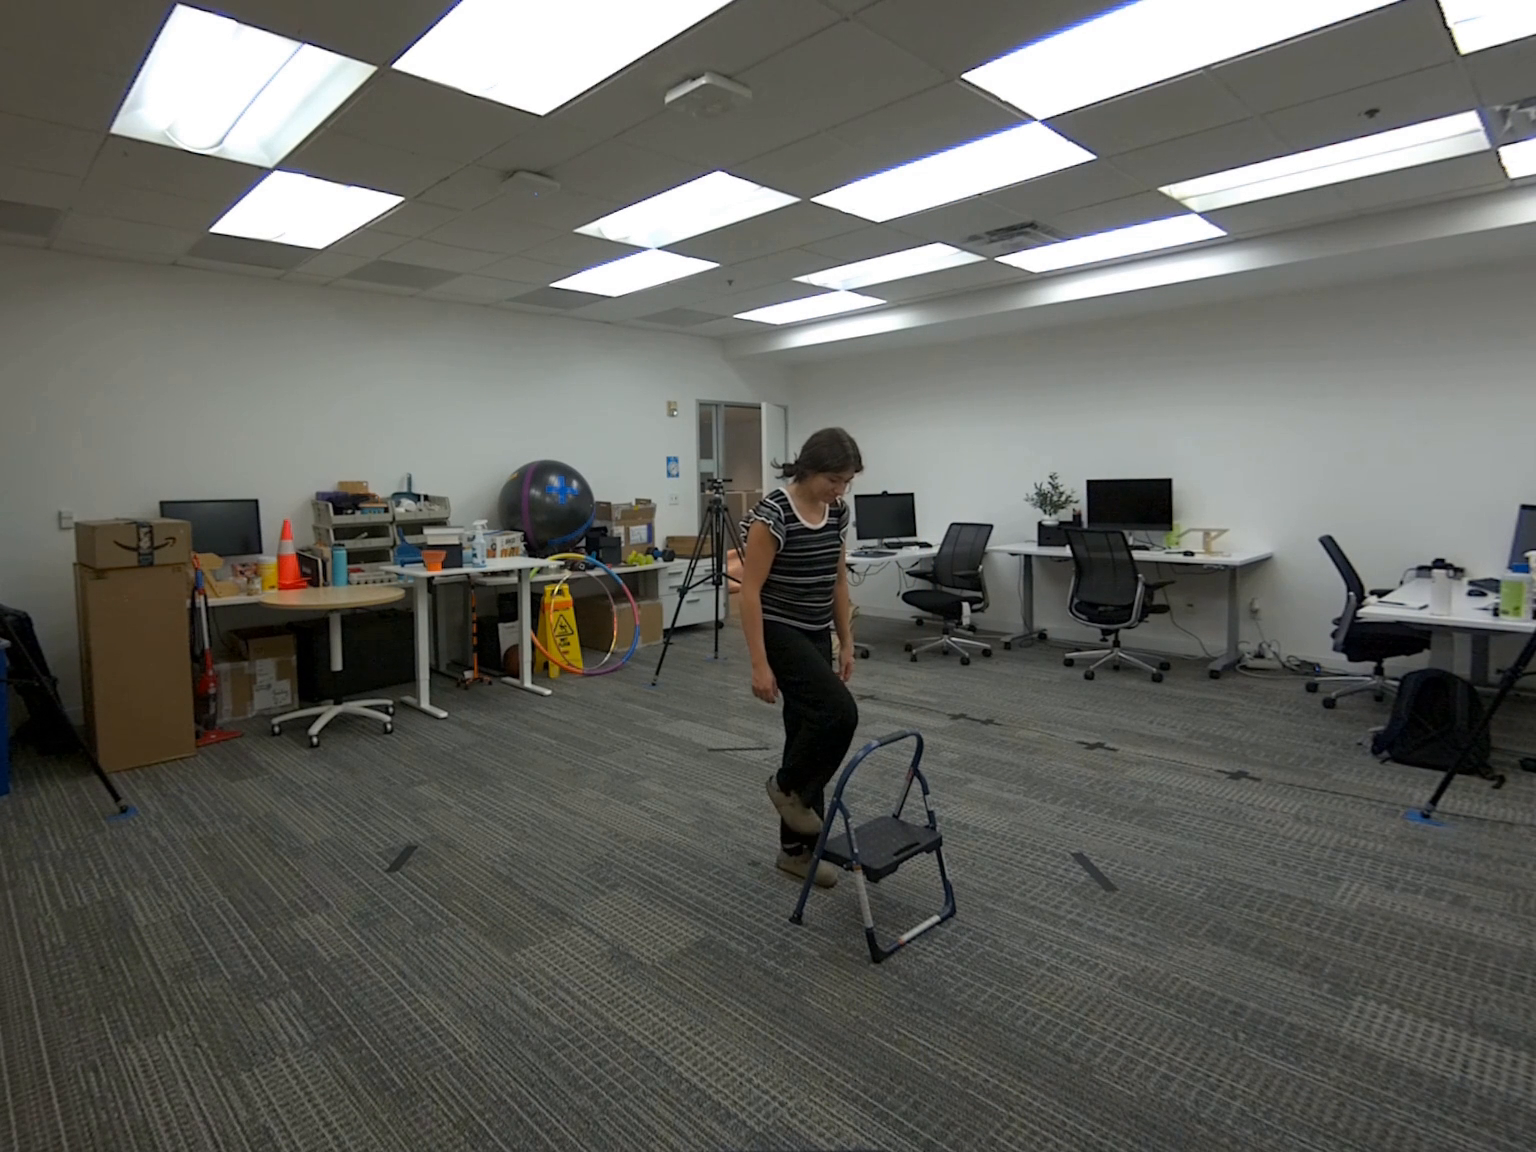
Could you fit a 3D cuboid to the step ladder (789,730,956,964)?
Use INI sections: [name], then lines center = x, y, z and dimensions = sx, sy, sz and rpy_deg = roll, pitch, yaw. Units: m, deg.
[step ladder]
center = 0.333, 0.784, 2.691
dimensions = 0.419, 0.604, 0.360
rpy_deg = -6, 6, -45
